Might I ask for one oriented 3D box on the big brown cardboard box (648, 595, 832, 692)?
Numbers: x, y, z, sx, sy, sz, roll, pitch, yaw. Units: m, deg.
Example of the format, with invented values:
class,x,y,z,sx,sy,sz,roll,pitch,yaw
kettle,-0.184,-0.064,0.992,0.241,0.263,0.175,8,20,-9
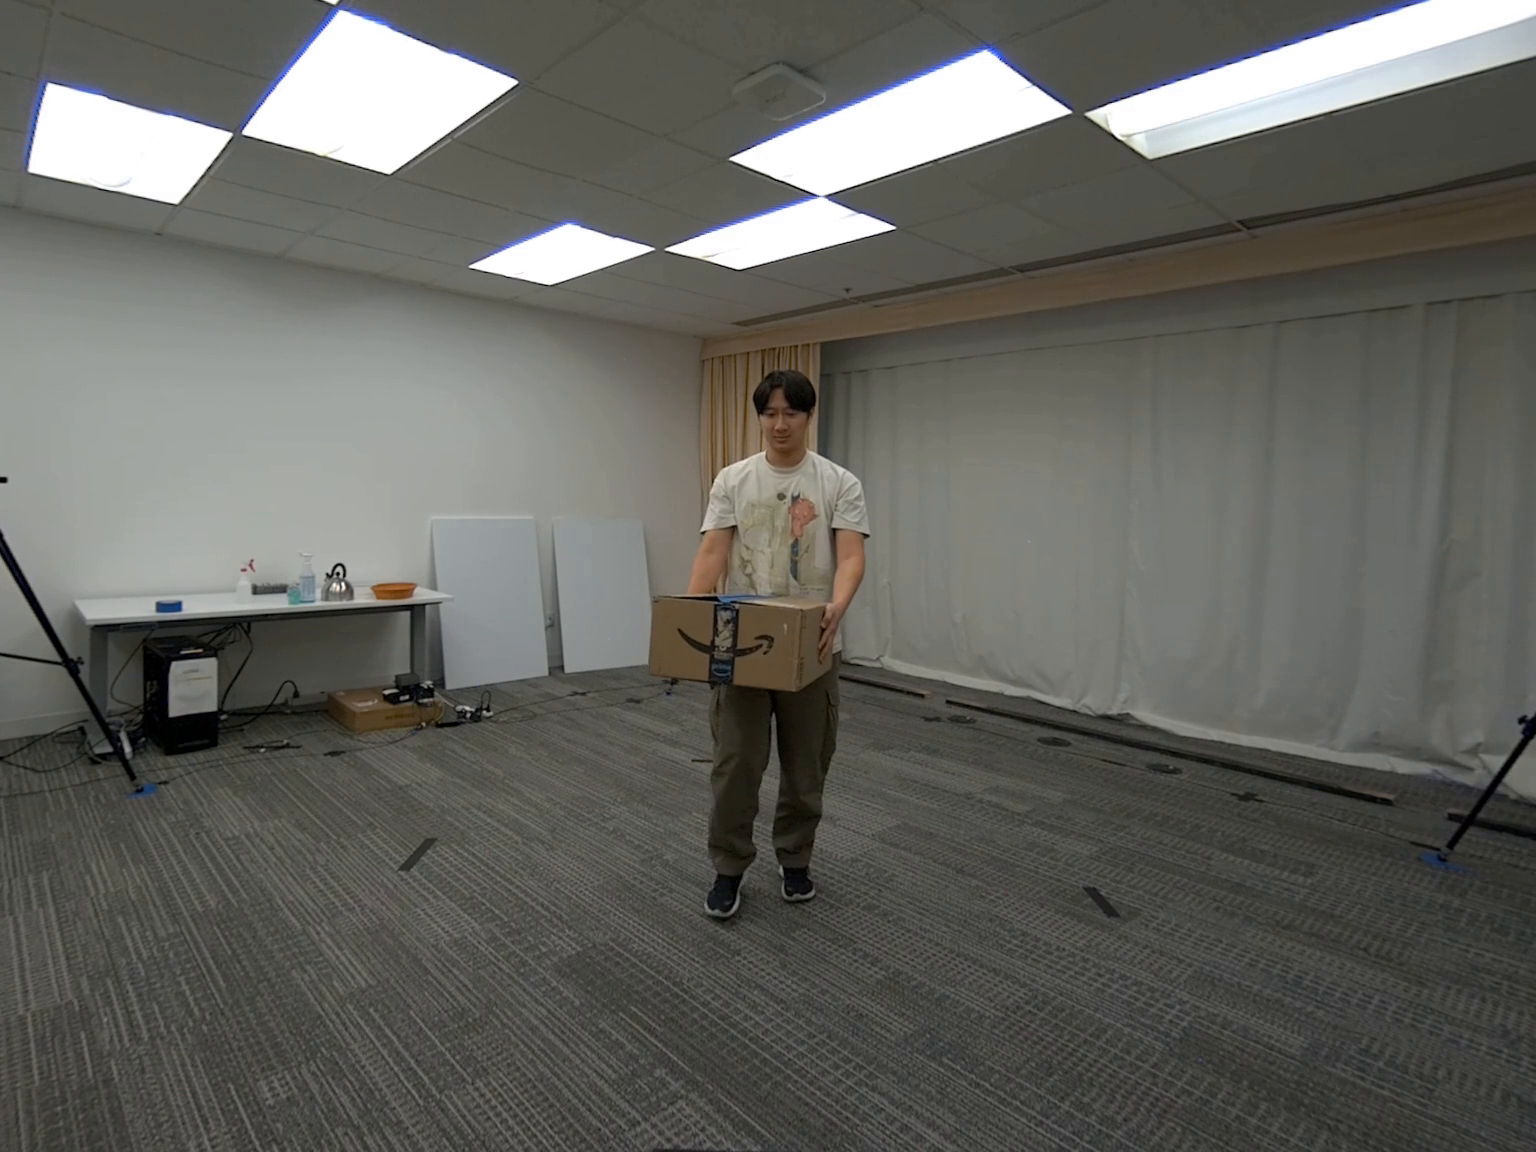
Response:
class,x,y,z,sx,sy,sz,roll,pitch,yaw
big brown cardboard box,-0.063,0.180,2.469,0.422,0.233,0.582,4,0,13
